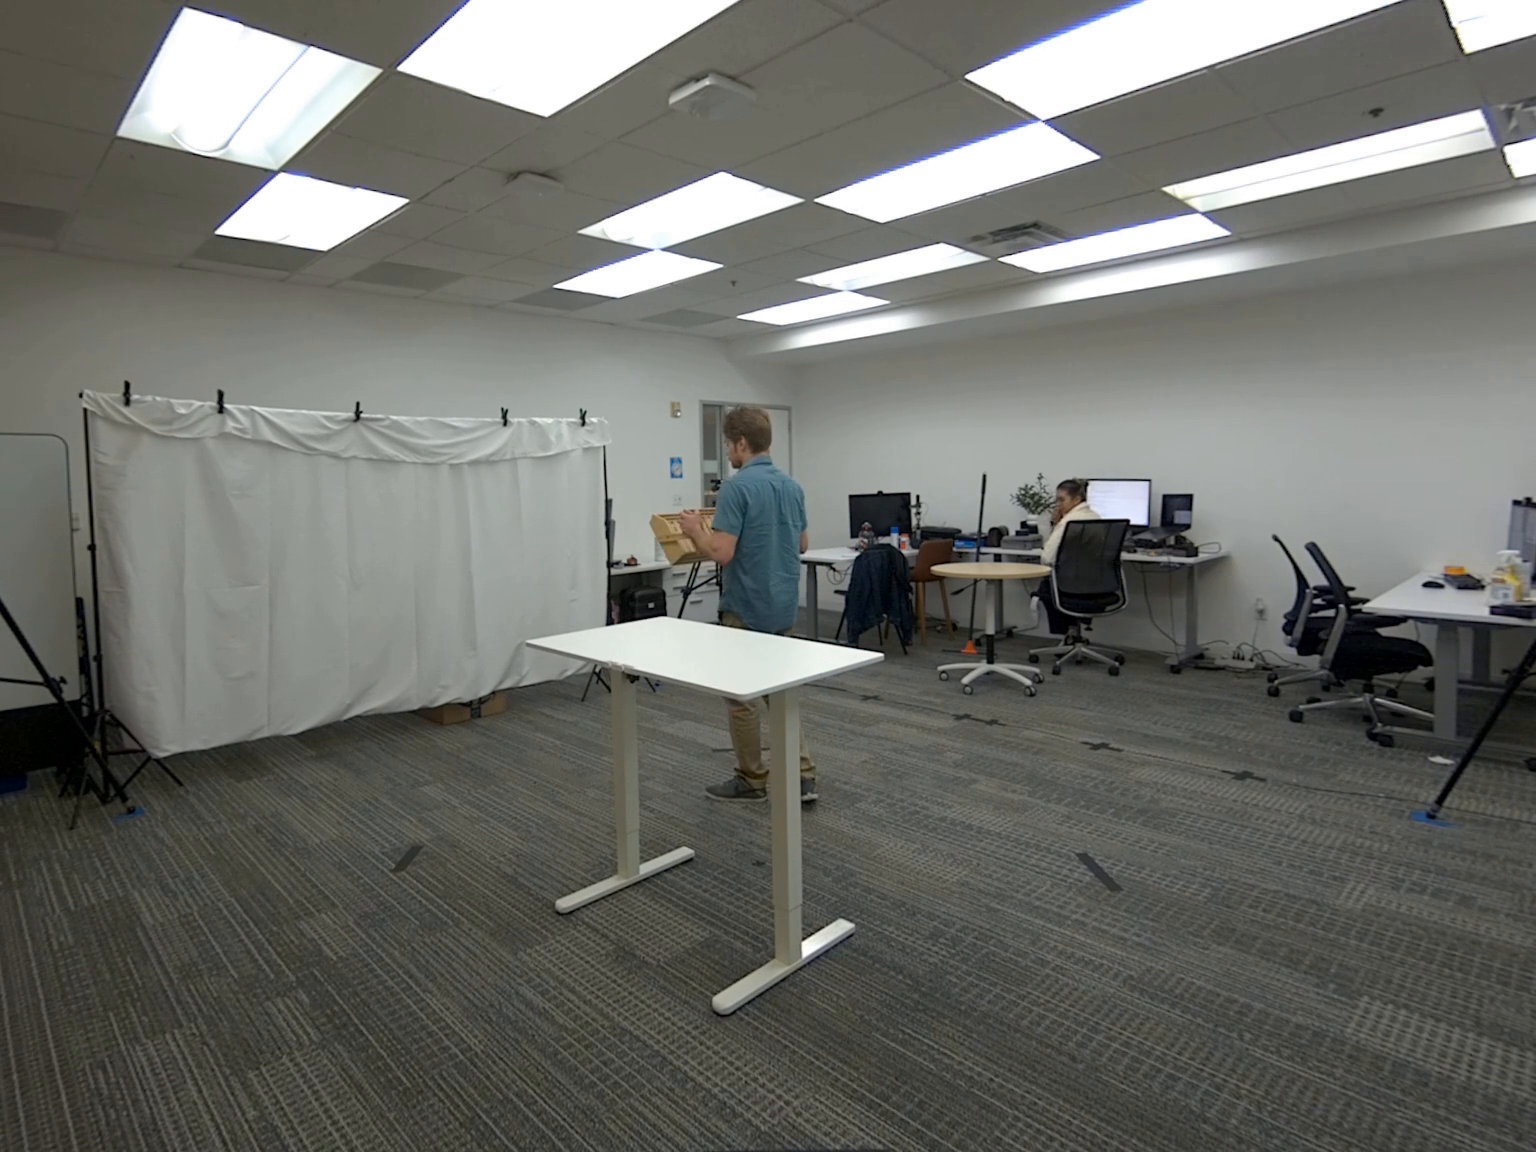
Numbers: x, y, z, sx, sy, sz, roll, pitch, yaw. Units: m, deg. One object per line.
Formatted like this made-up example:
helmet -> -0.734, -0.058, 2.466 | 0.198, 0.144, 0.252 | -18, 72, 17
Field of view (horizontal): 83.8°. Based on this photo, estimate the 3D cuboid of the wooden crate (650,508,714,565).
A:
wooden crate -> -0.295, -0.215, 3.884 | 0.274, 0.309, 0.316 | -40, -20, 34
